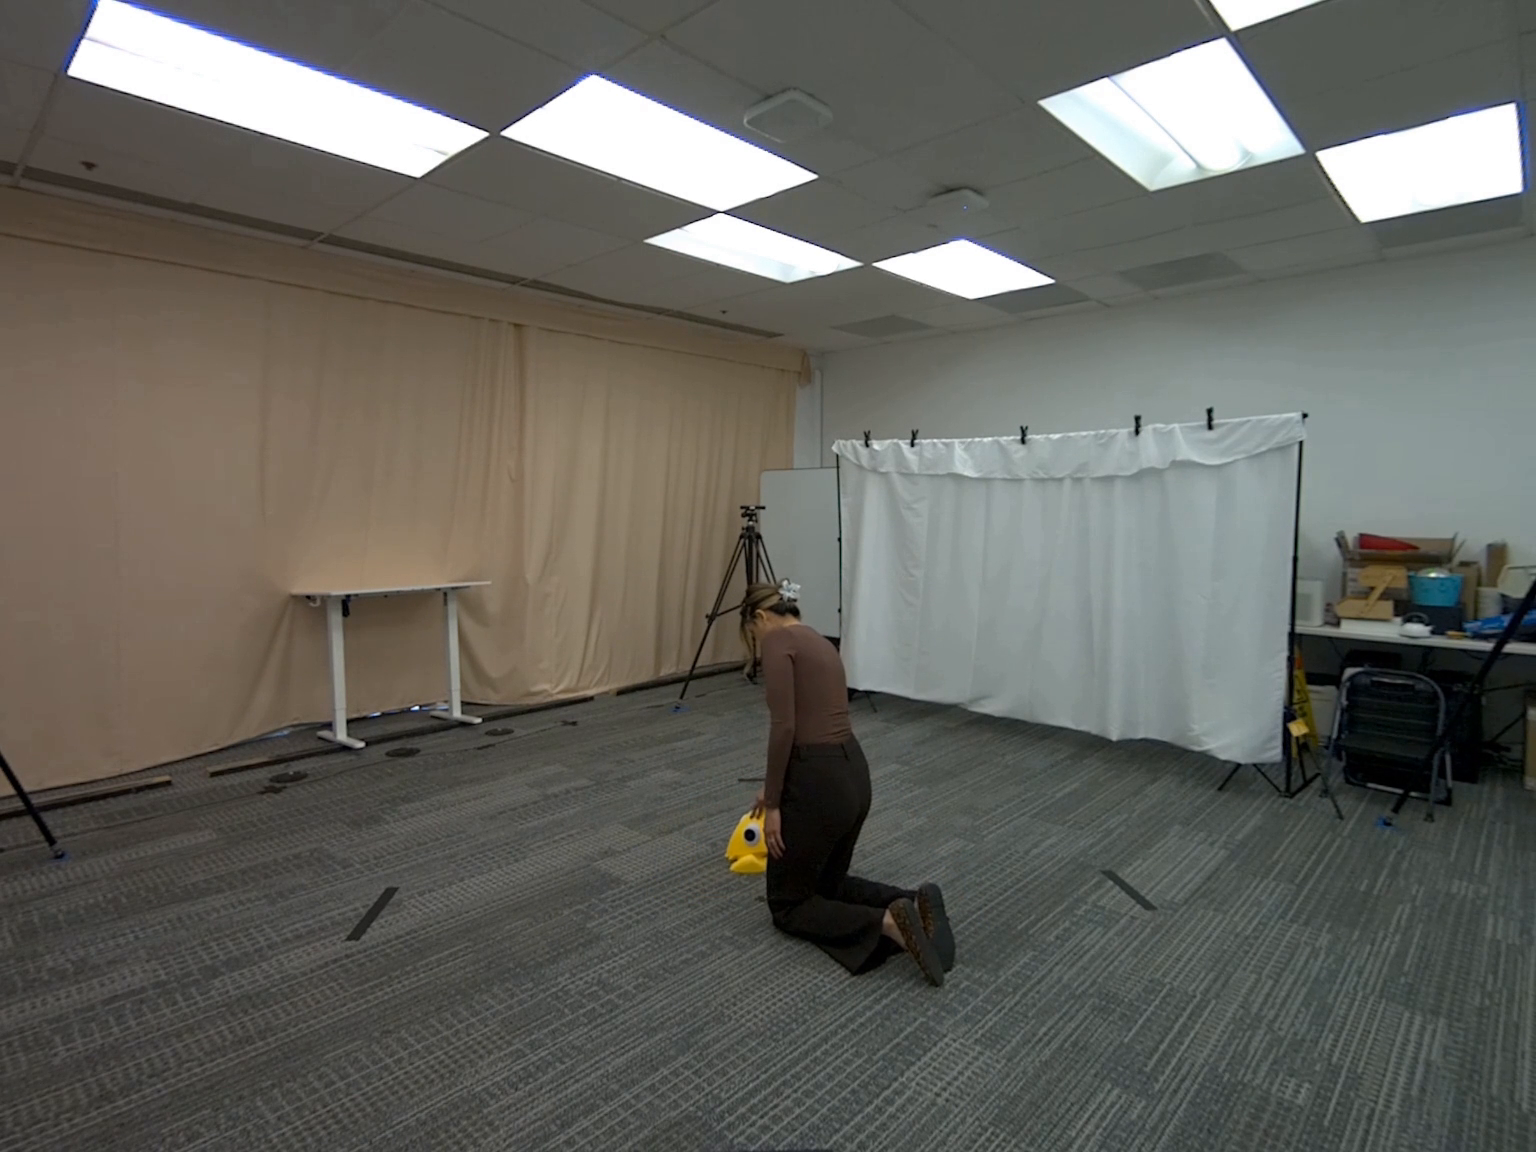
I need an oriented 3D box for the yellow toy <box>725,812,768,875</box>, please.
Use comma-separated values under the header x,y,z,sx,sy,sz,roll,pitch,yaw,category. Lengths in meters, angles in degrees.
x,y,z,sx,sy,sz,roll,pitch,yaw,category
-0.068,1.005,3.288,0.191,0.230,0.207,1,3,-8,yellow toy
